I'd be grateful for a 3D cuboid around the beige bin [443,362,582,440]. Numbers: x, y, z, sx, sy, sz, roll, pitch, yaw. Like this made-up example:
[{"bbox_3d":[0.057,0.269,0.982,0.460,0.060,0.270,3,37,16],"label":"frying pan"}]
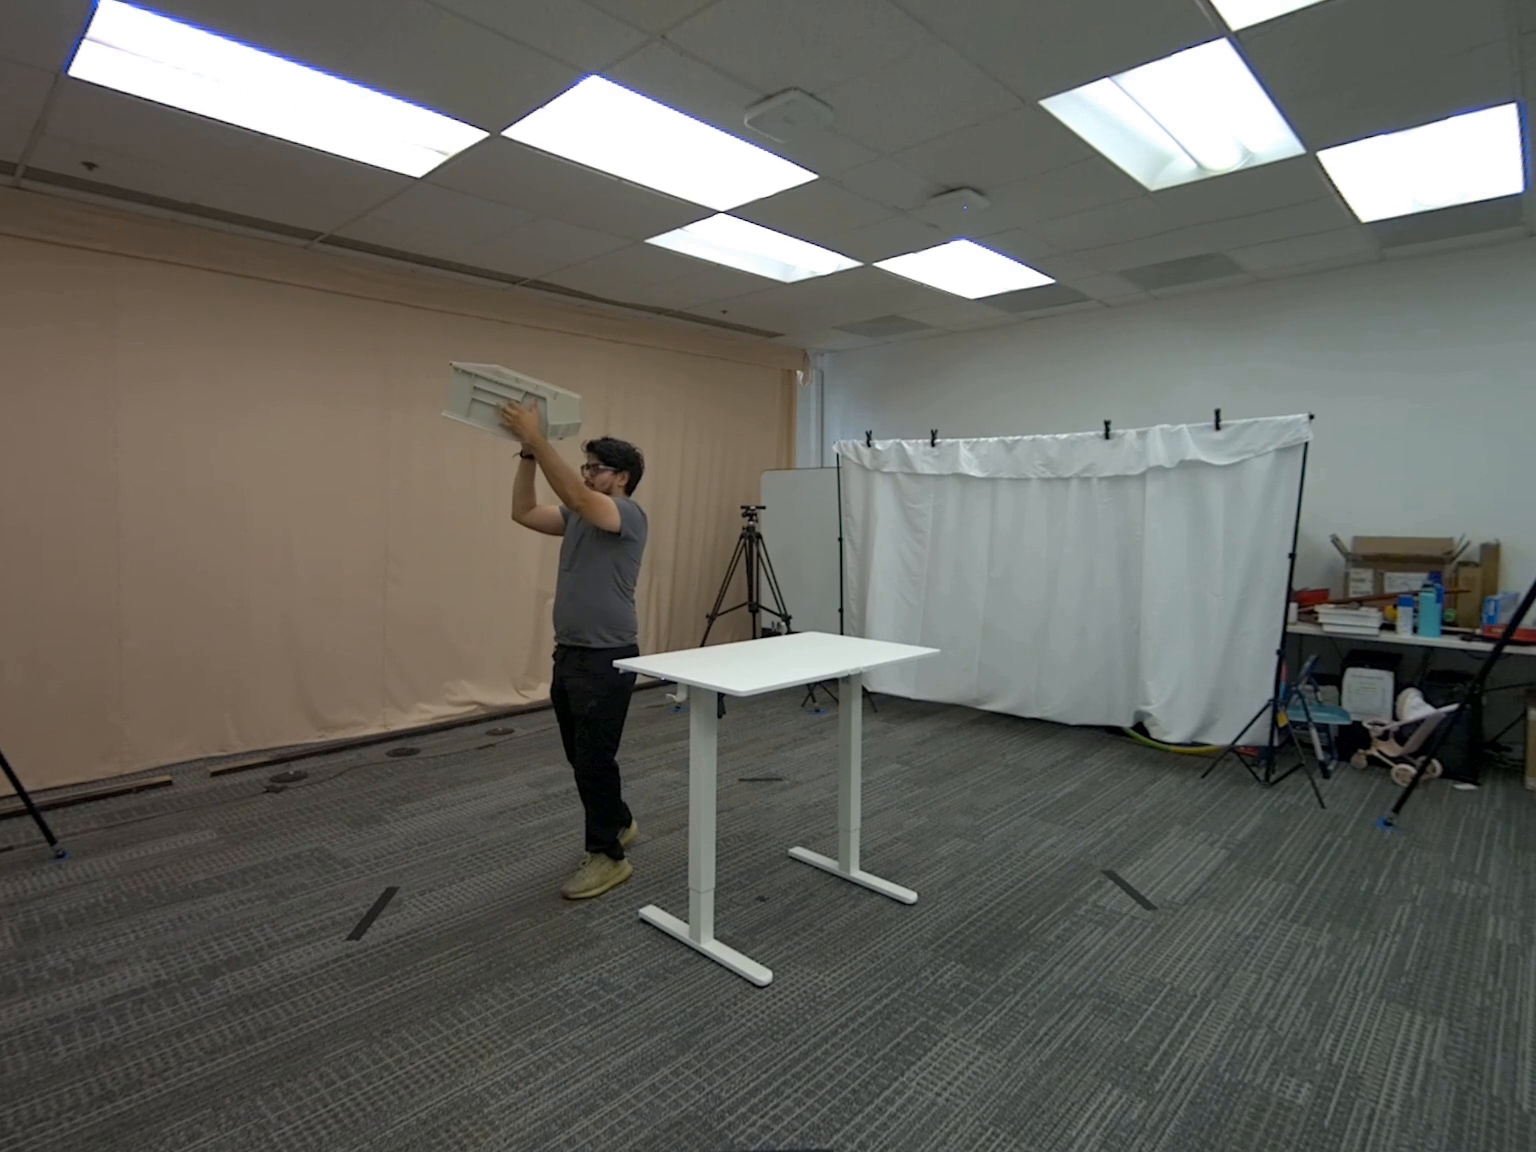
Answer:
[{"bbox_3d":[-0.880,-0.597,2.955,0.377,0.188,0.424,19,13,-2],"label":"beige bin"}]
